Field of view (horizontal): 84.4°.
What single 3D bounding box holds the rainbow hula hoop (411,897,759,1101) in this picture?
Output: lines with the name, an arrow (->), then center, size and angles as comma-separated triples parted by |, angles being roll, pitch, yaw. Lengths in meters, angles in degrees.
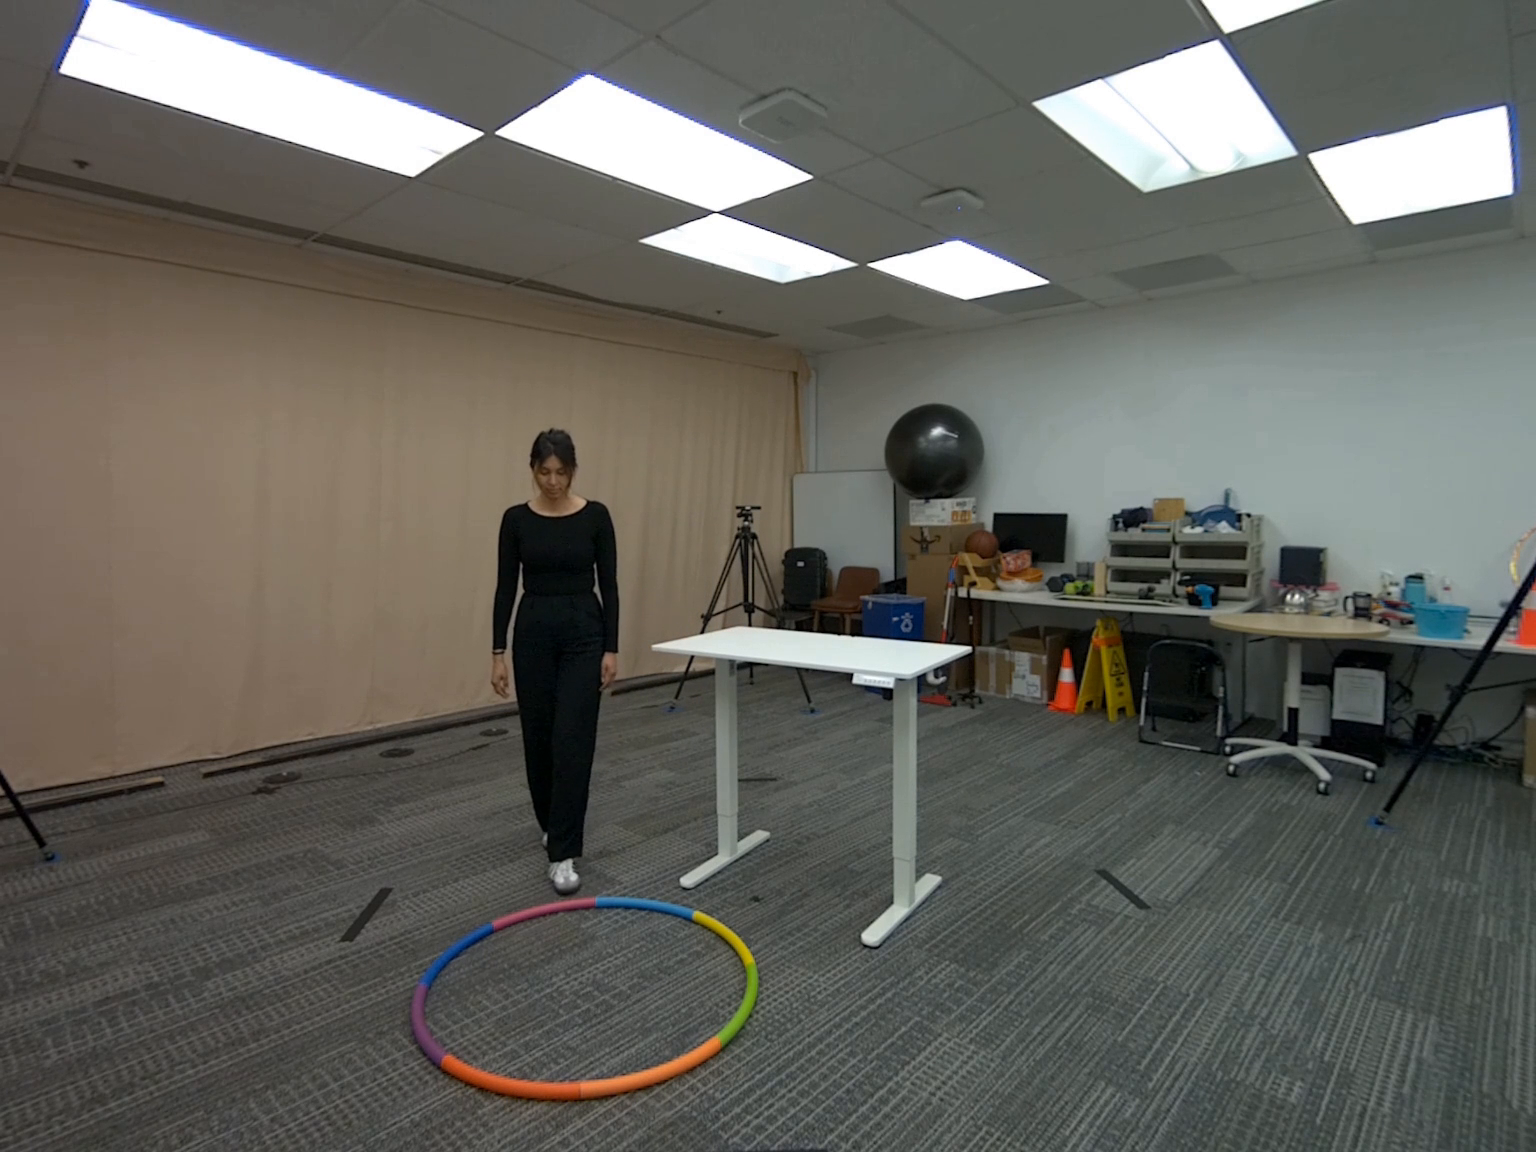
rainbow hula hoop -> -0.512, 1.165, 2.452 | 0.978, 0.035, 0.982 | 0, 4, -2
